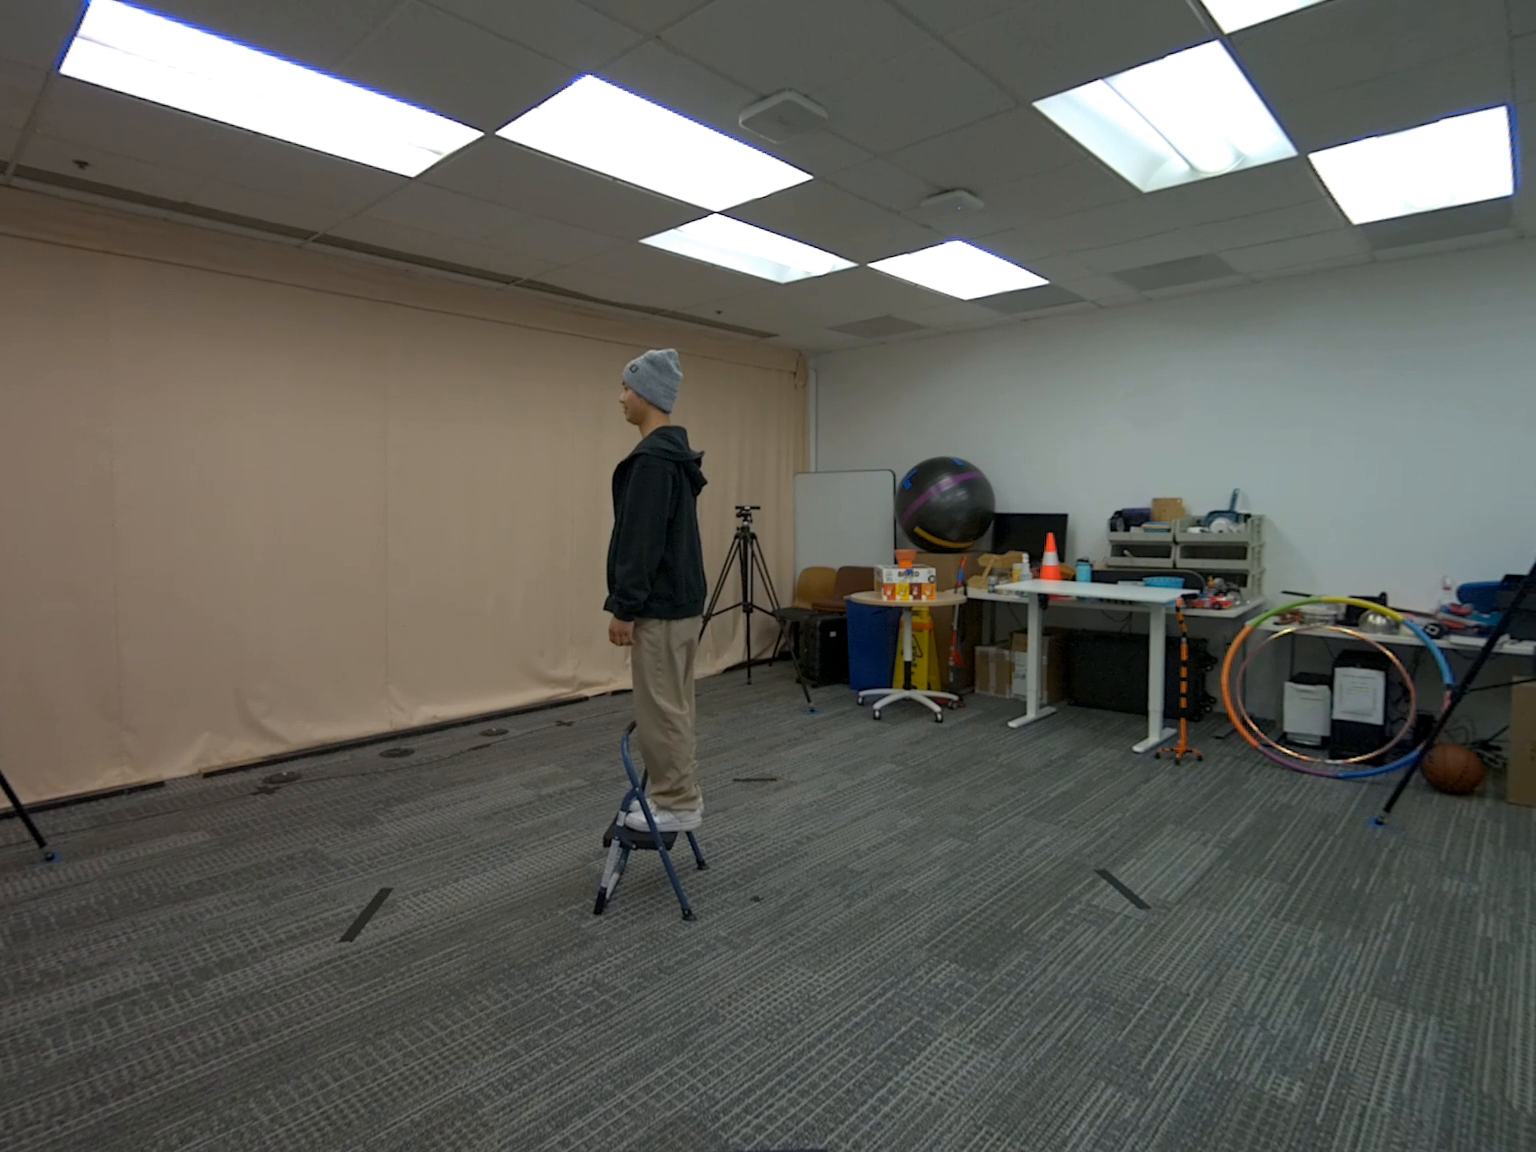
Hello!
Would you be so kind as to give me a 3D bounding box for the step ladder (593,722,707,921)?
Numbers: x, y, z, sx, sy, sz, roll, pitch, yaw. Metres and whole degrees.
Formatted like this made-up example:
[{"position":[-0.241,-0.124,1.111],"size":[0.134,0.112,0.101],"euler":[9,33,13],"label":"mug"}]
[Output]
[{"position":[-0.417,0.845,3.043],"size":[0.351,0.605,0.429],"euler":[1,3,3],"label":"step ladder"}]
